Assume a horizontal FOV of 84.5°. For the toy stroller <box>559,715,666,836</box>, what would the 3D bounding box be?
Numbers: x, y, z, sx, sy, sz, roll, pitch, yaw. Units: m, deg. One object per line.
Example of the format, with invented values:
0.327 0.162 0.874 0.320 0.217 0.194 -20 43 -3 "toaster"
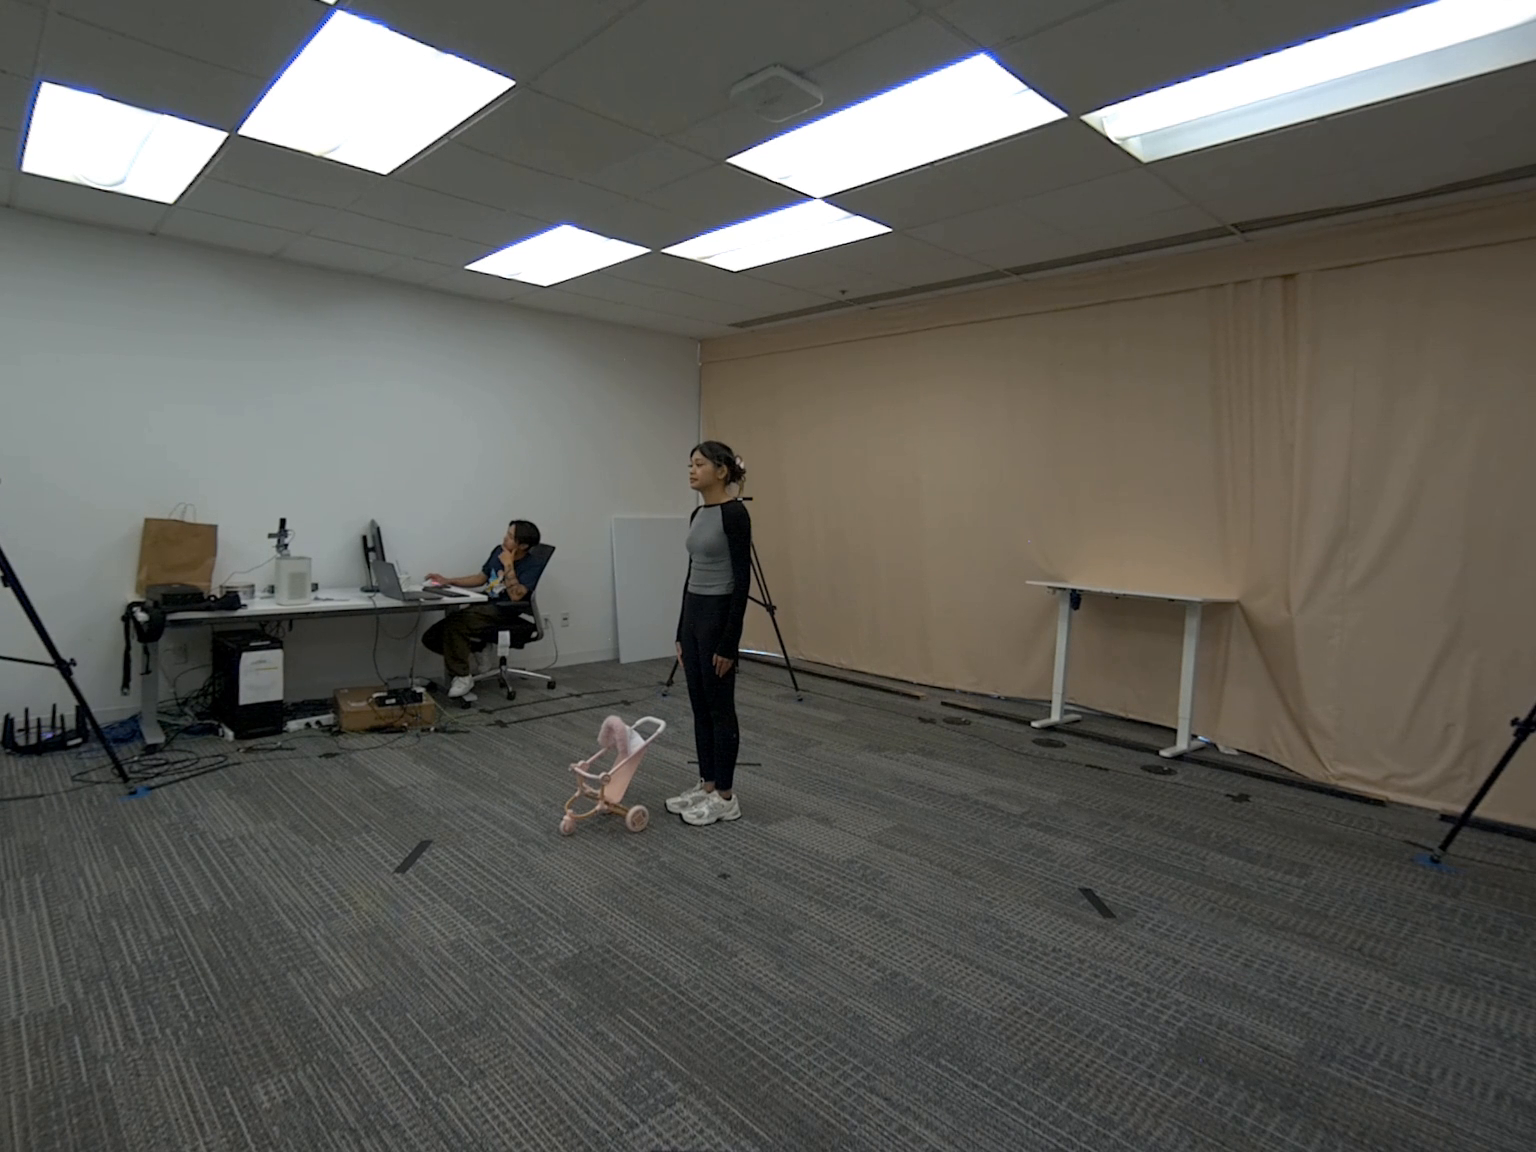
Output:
-0.681 0.834 3.554 0.332 0.537 0.288 19 -8 -33 "toy stroller"
